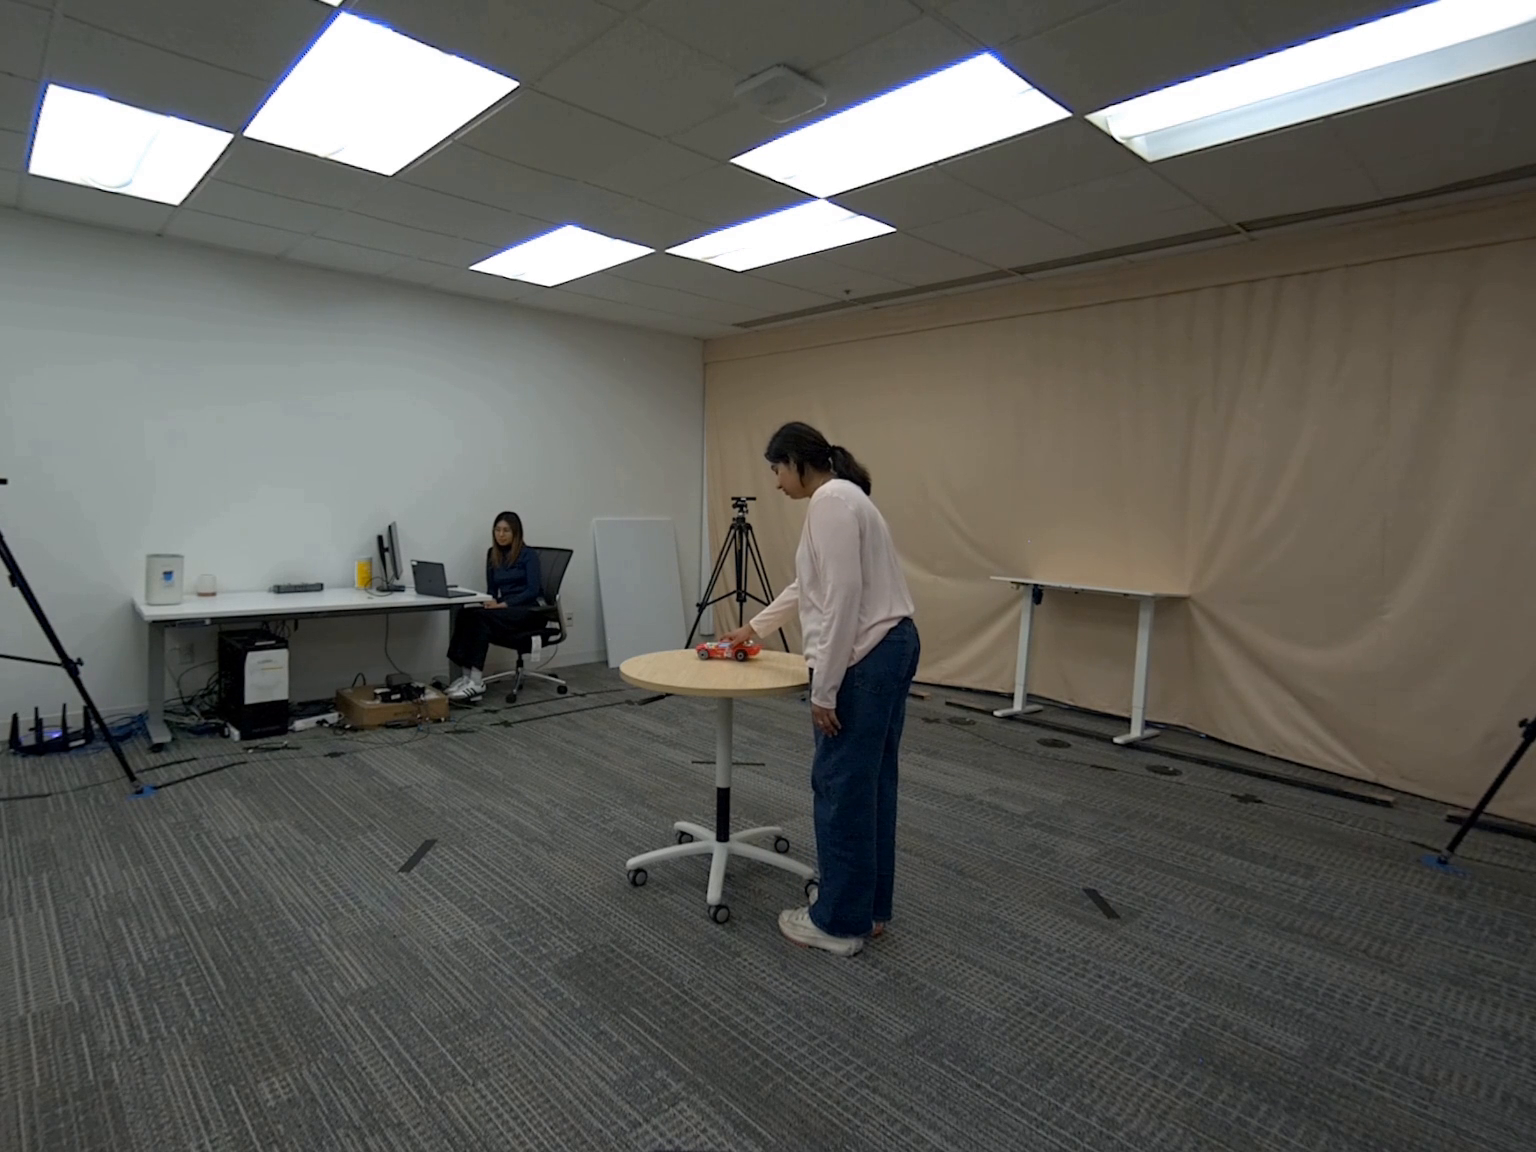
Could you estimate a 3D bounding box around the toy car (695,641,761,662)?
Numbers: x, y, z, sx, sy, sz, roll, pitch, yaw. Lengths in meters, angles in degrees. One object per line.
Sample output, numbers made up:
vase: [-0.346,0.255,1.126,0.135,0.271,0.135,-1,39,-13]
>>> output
toy car: [-0.144,0.283,3.197,0.256,0.083,0.129,-10,1,10]
